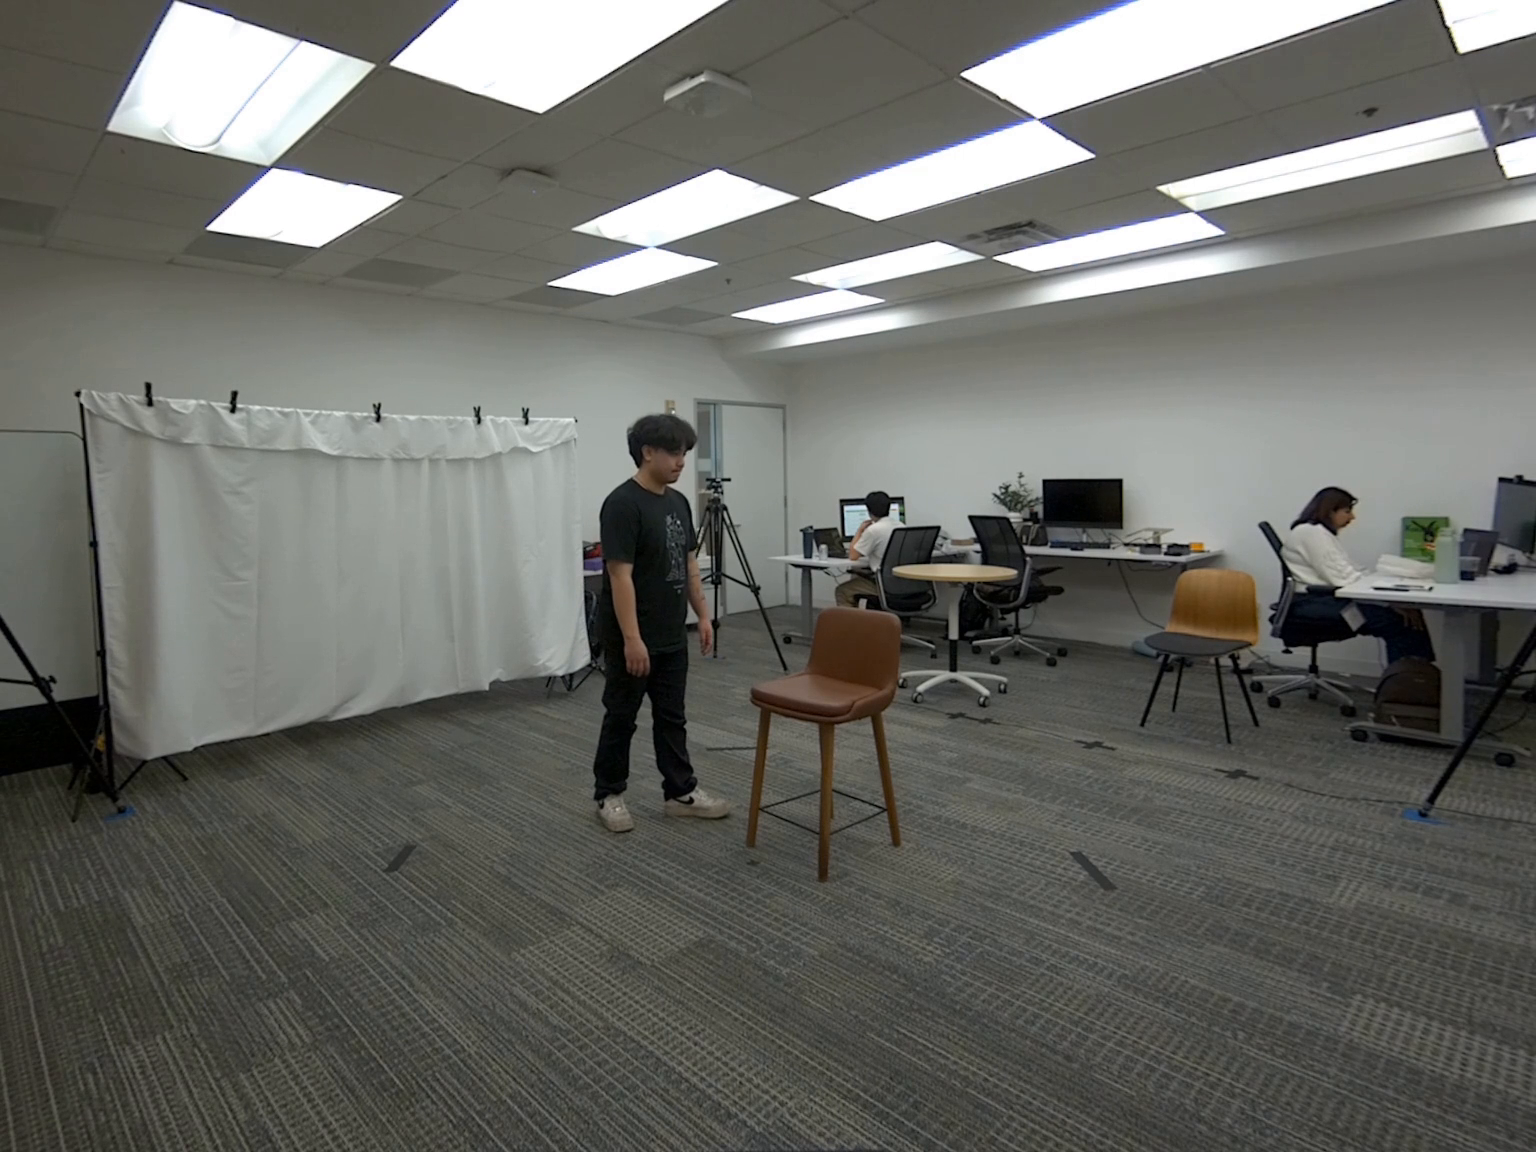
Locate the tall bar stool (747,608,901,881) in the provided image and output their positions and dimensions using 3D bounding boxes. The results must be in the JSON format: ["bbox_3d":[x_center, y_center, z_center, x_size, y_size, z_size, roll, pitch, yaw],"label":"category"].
[{"bbox_3d":[0.220,0.590,3.214,0.454,0.888,0.470,-1,3,-41],"label":"tall bar stool"}]
